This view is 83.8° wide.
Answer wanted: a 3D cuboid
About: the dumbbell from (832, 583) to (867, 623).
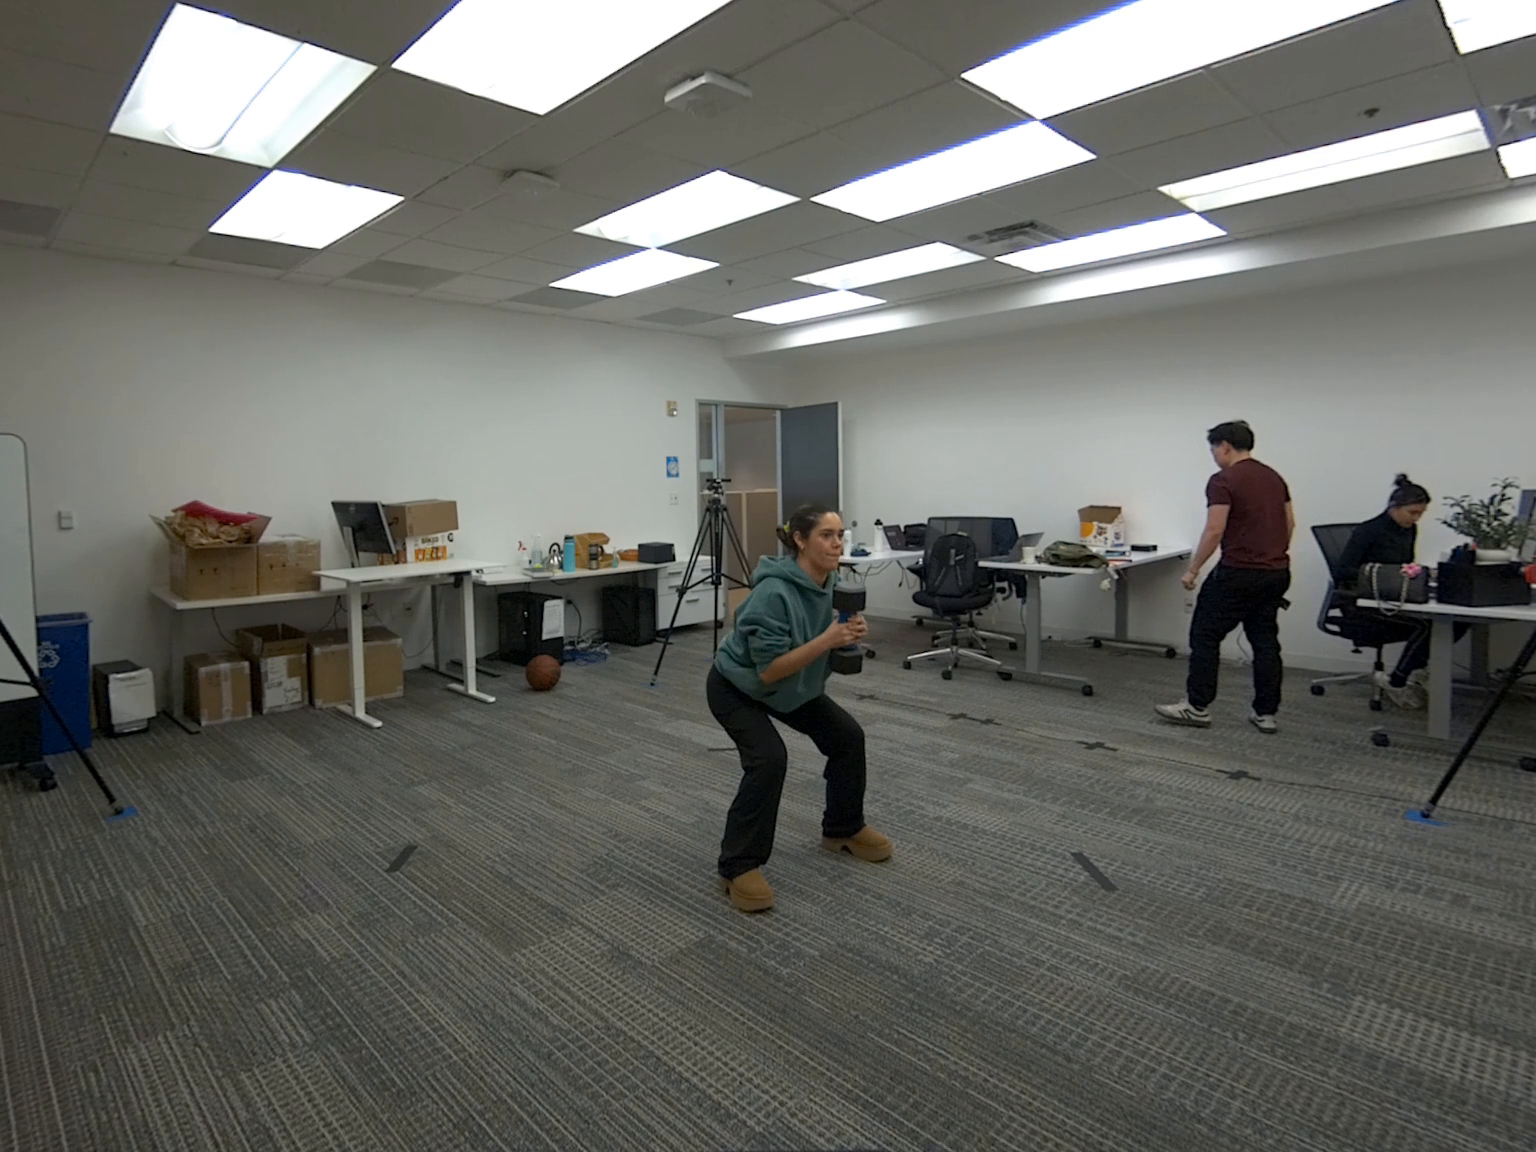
[{"bbox_3d":[0.241,0.171,2.801,0.109,0.290,0.124,1,12,0],"label":"dumbbell"}]
